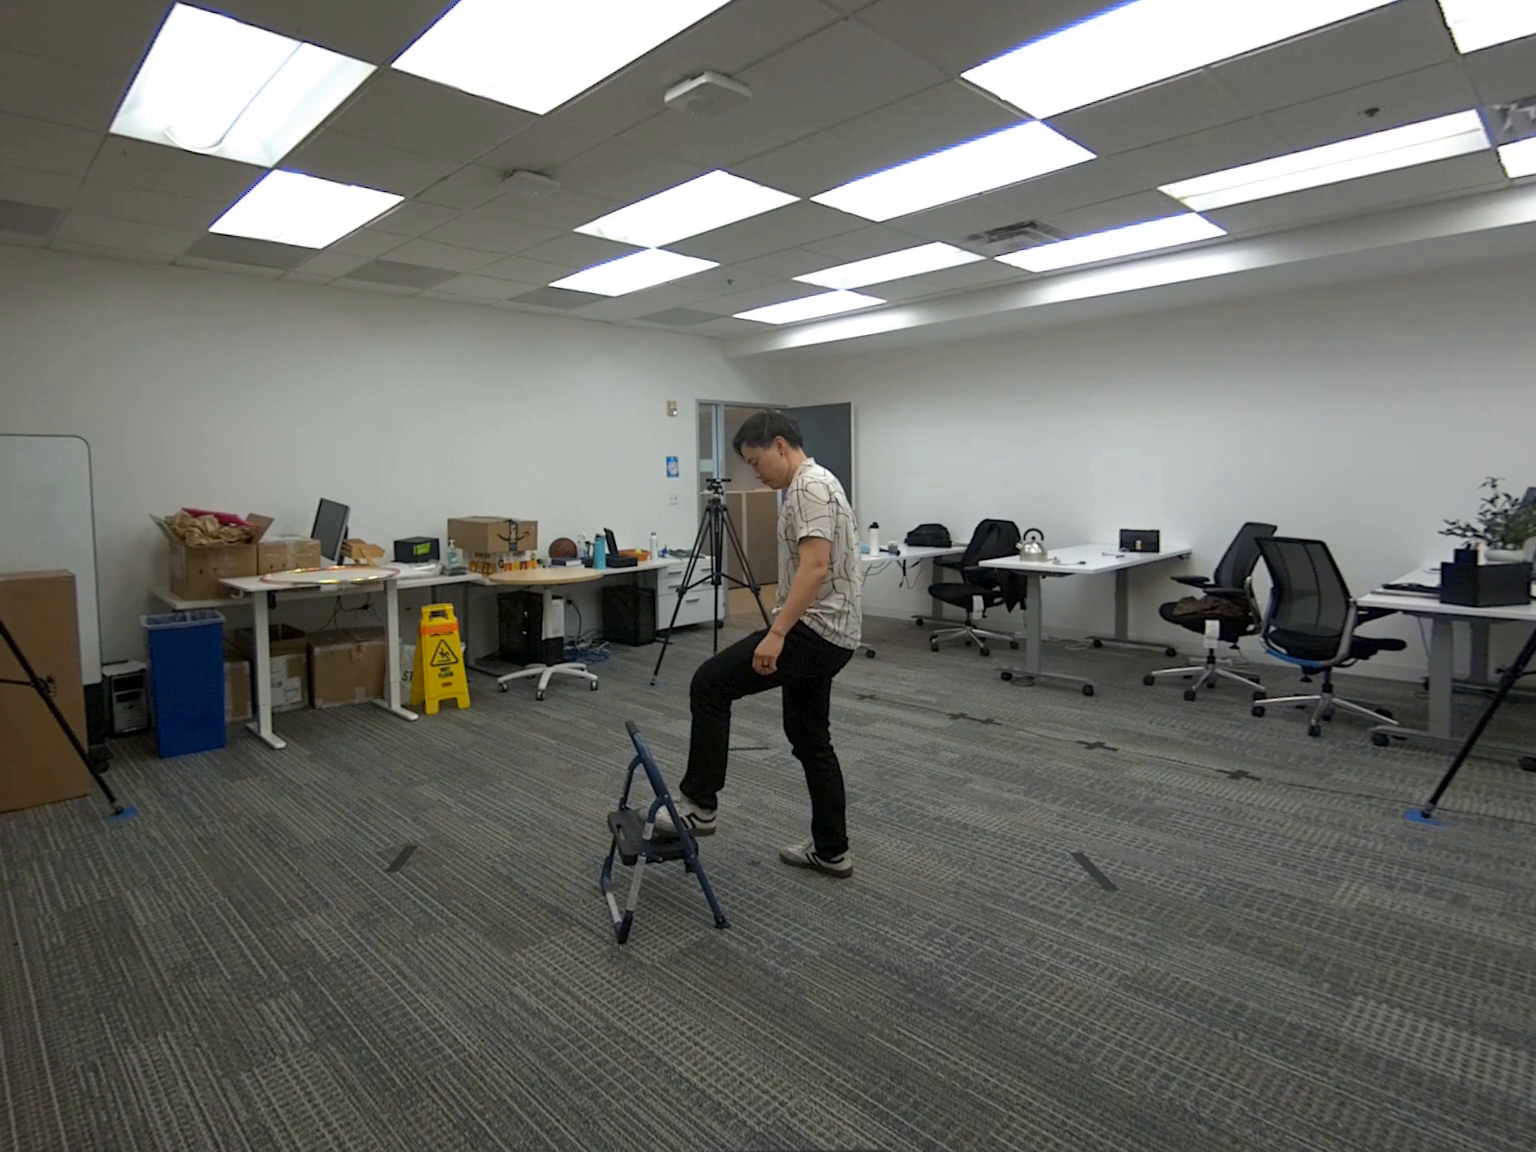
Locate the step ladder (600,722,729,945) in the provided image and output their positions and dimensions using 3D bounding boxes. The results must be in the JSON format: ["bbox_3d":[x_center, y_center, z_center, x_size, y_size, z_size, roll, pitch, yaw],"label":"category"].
[{"bbox_3d":[-0.356,0.780,2.800,0.344,0.603,0.439,-3,5,-18],"label":"step ladder"}]
